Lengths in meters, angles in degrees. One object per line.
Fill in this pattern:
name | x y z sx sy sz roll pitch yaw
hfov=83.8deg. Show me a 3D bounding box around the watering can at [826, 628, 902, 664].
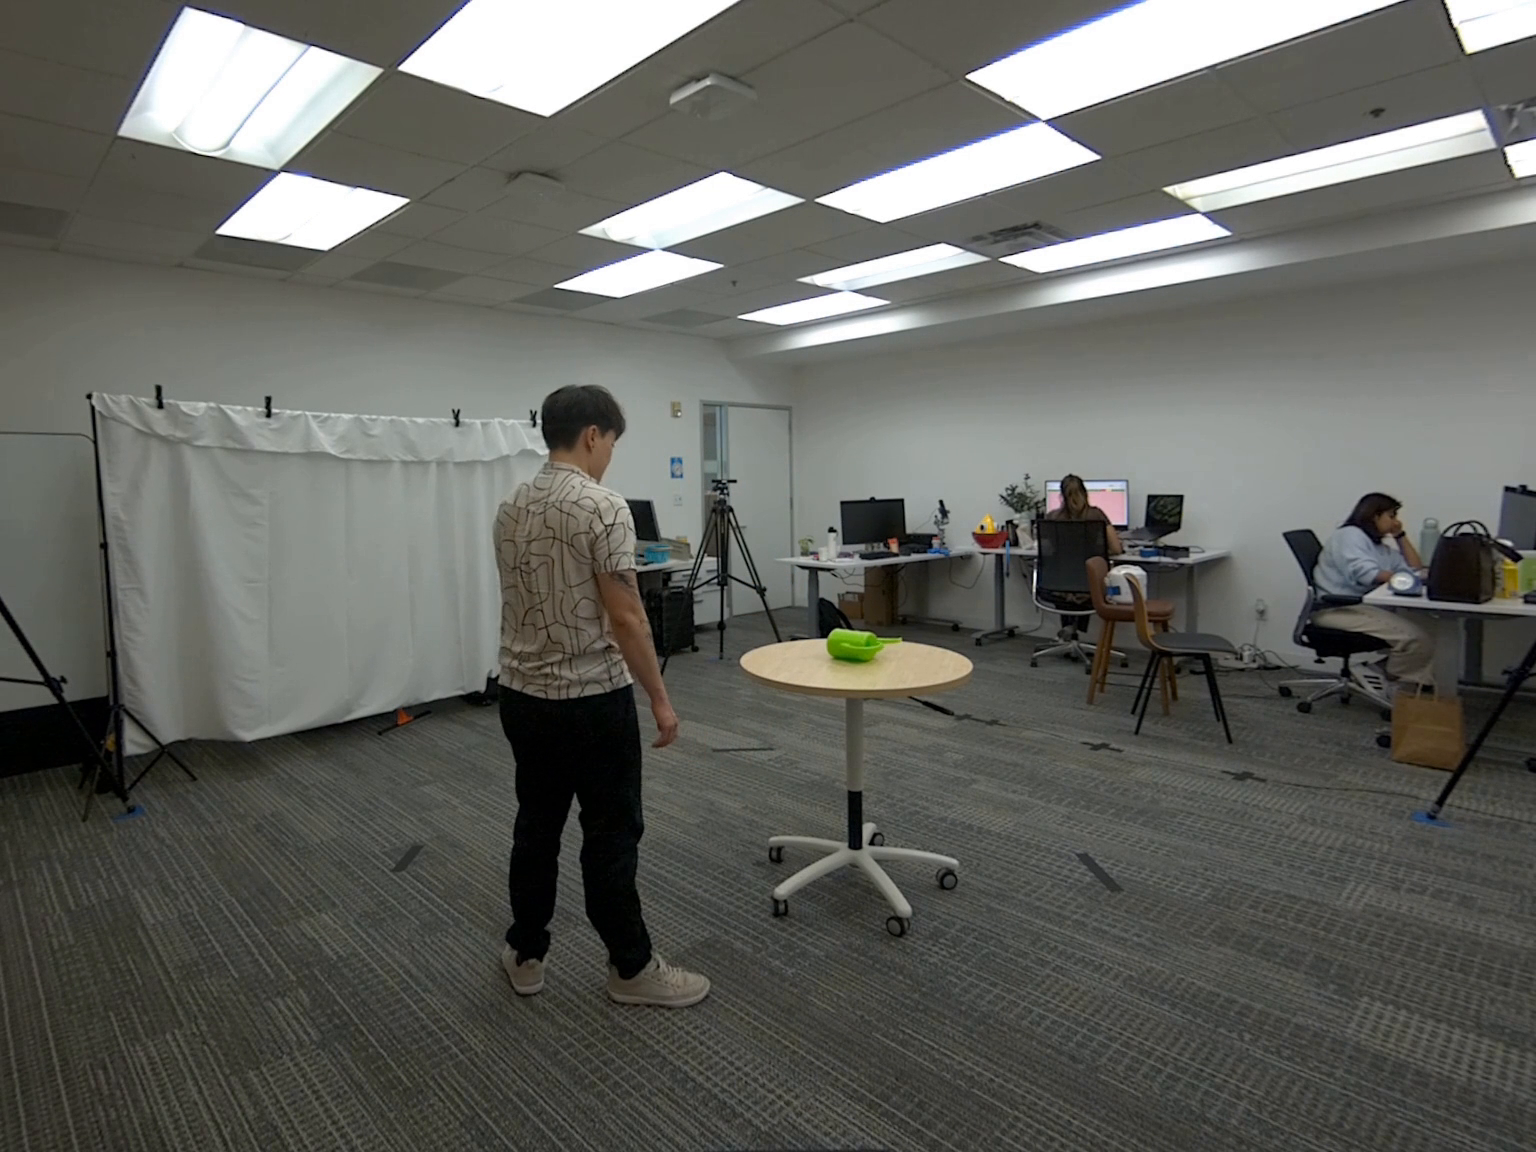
watering can | 0.329 0.240 2.916 0.182 0.098 0.269 4 -6 32
